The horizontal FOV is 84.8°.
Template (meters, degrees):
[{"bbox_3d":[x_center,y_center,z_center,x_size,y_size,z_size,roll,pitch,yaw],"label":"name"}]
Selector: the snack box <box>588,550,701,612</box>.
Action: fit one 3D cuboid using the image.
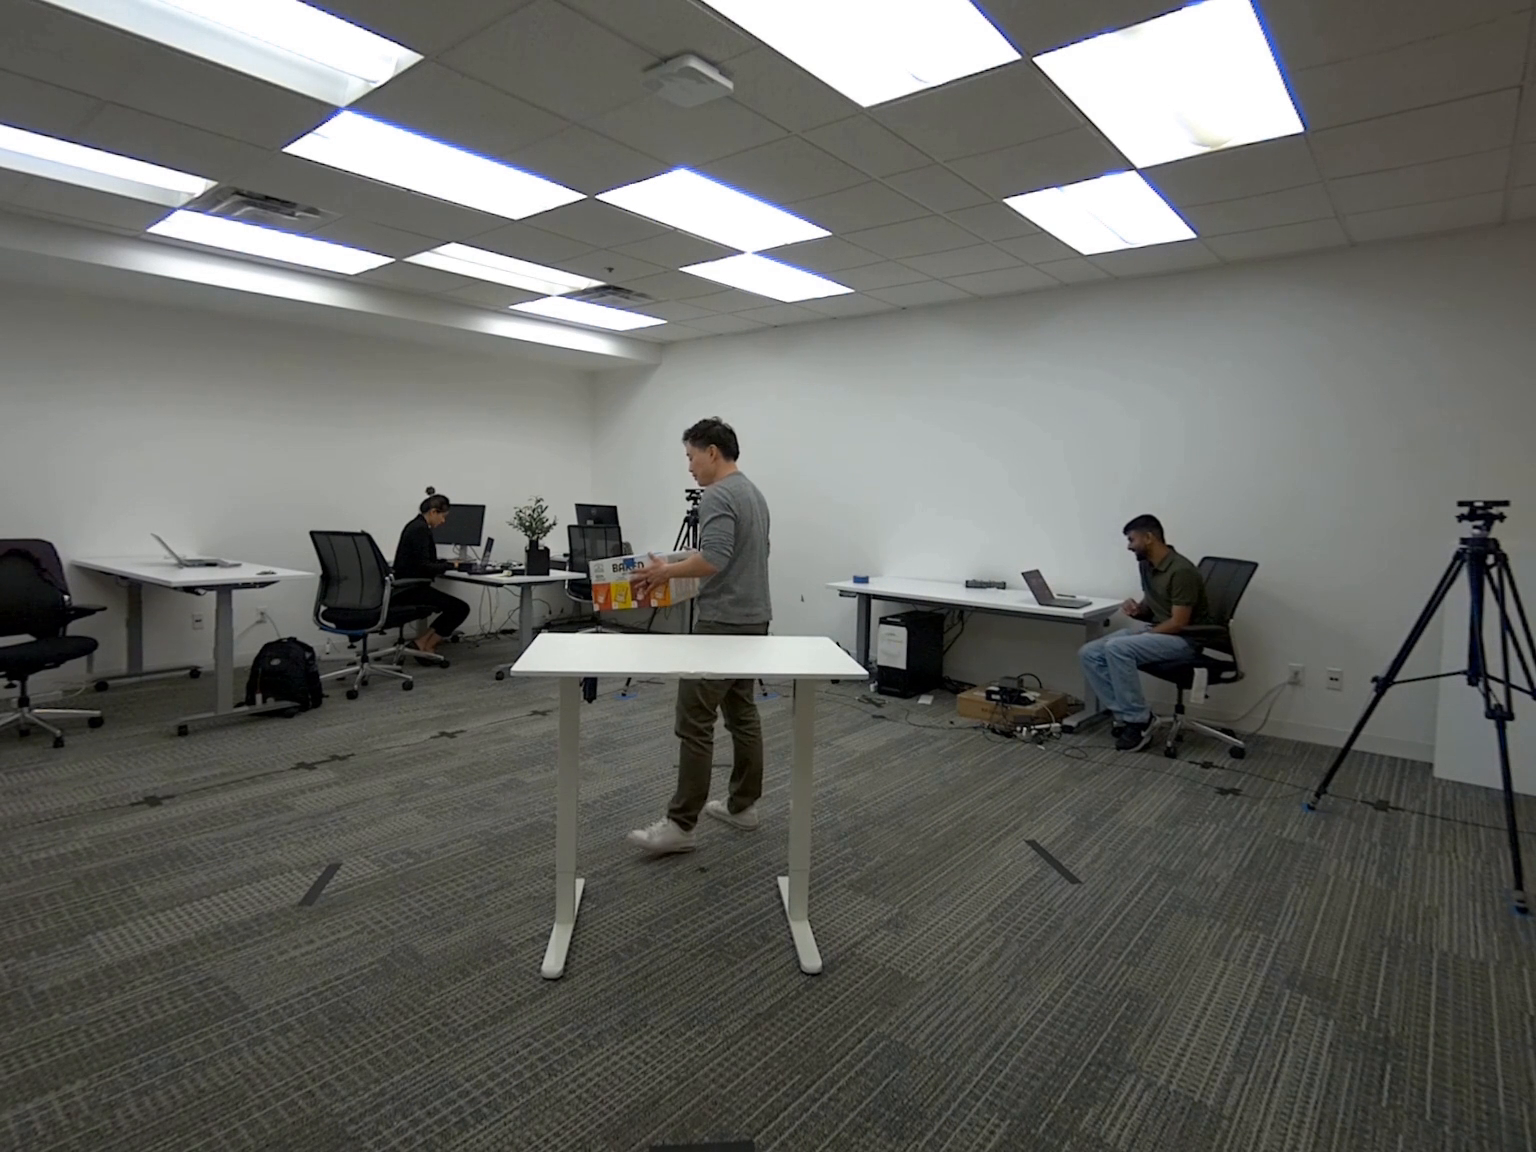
[{"bbox_3d":[-0.526,0.008,3.598,0.345,0.205,0.400,-4,3,15],"label":"snack box"}]
